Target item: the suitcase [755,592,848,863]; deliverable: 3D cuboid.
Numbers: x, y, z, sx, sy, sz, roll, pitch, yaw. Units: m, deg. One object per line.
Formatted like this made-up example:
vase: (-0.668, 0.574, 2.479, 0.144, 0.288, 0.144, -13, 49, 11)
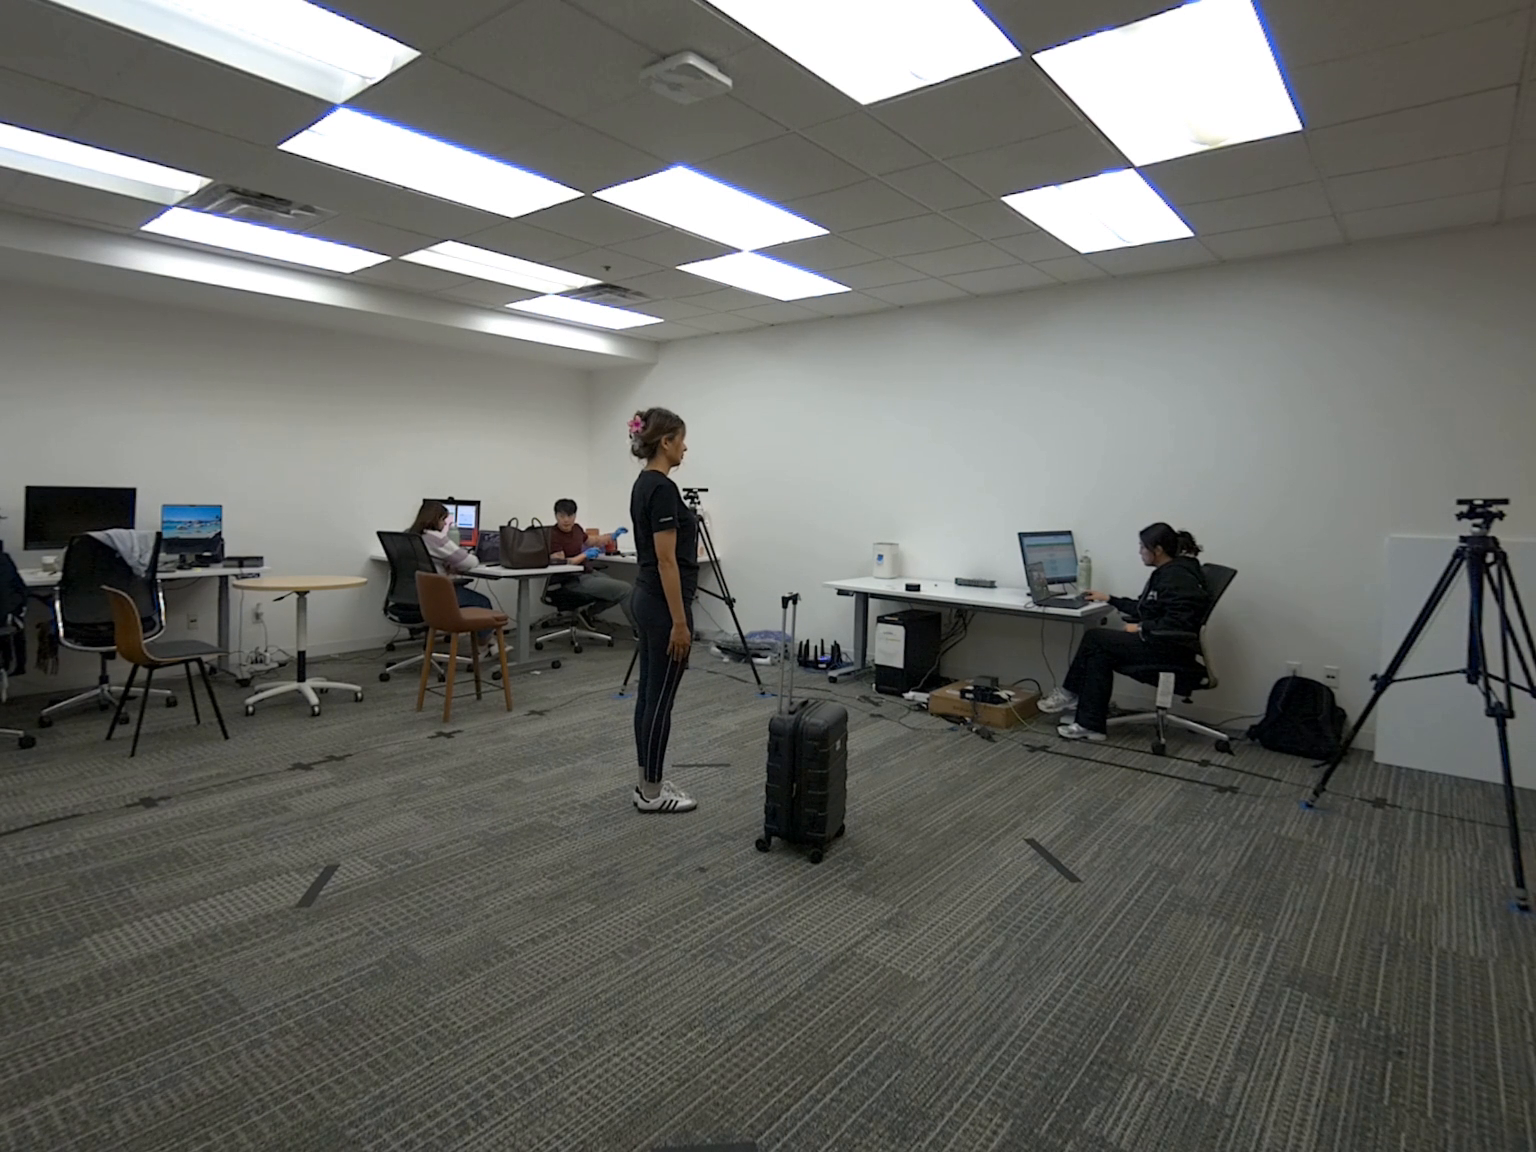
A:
suitcase: (0.166, 0.576, 3.356, 0.263, 0.975, 0.376, 5, 4, 20)
